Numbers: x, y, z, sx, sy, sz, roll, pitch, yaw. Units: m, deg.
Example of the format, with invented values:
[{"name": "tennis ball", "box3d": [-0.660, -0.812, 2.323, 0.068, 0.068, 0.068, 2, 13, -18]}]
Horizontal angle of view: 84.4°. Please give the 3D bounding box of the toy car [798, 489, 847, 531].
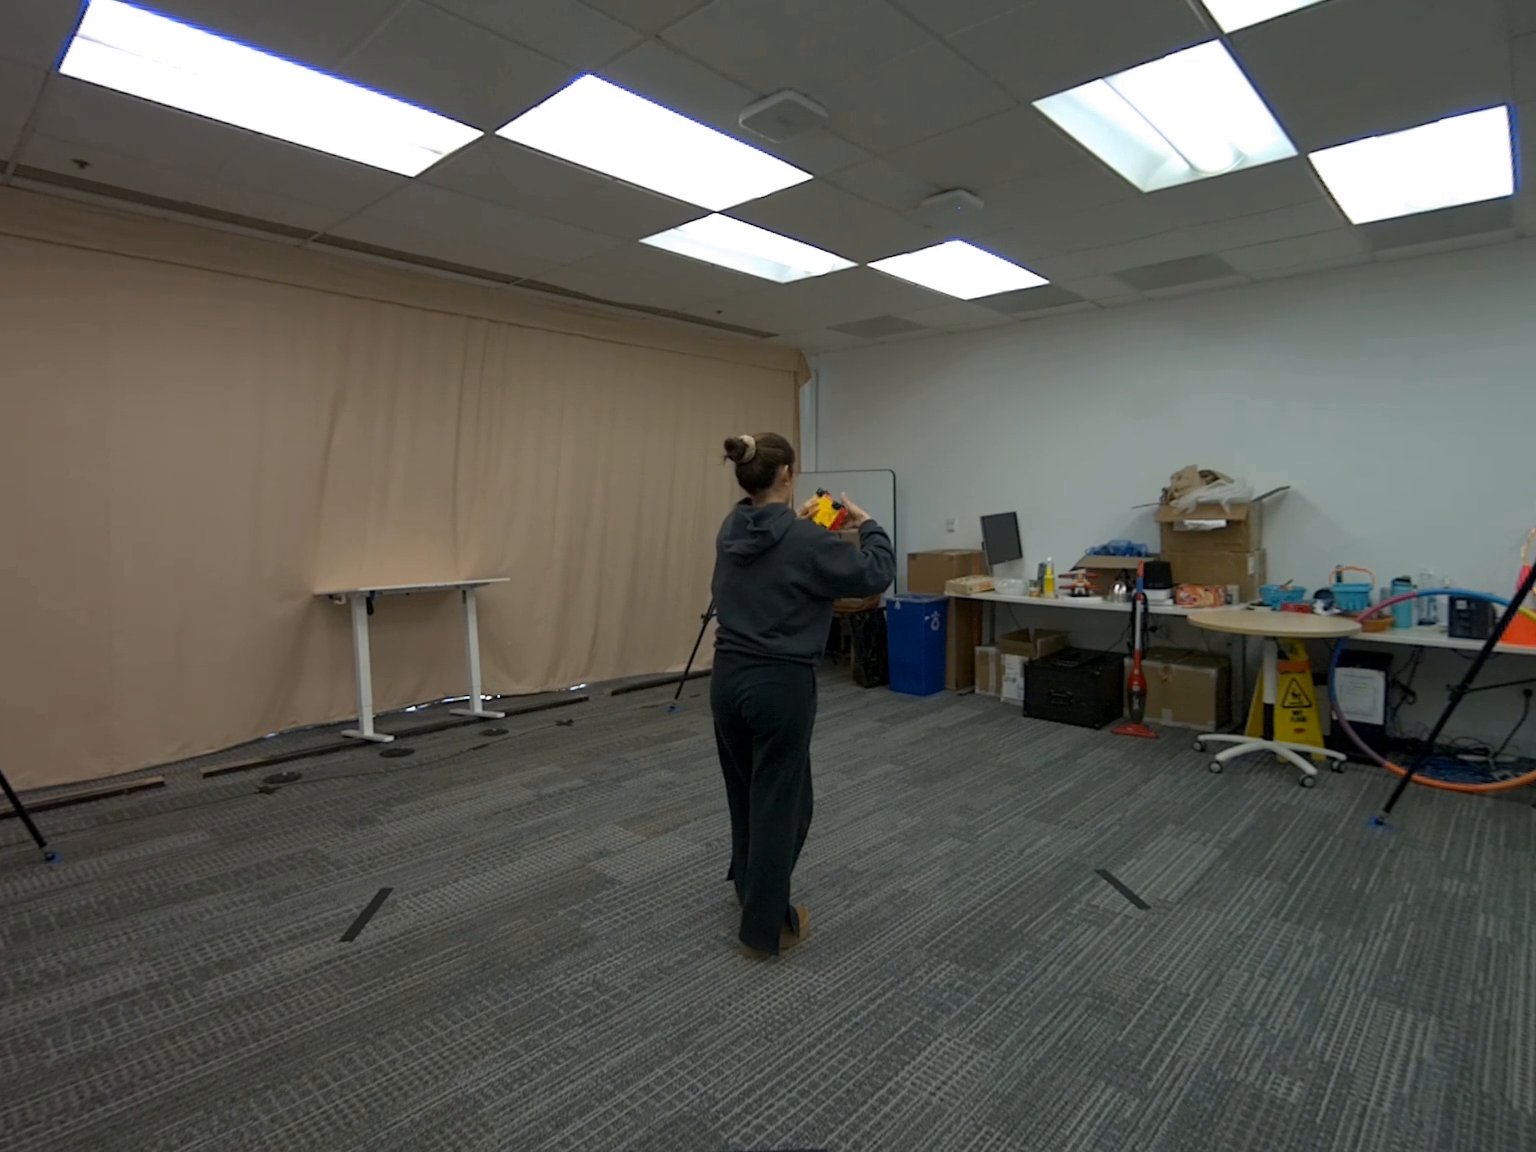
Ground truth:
[{"name": "toy car", "box3d": [0.193, -0.225, 2.828, 0.082, 0.130, 0.258, 29, 7, -14]}]
